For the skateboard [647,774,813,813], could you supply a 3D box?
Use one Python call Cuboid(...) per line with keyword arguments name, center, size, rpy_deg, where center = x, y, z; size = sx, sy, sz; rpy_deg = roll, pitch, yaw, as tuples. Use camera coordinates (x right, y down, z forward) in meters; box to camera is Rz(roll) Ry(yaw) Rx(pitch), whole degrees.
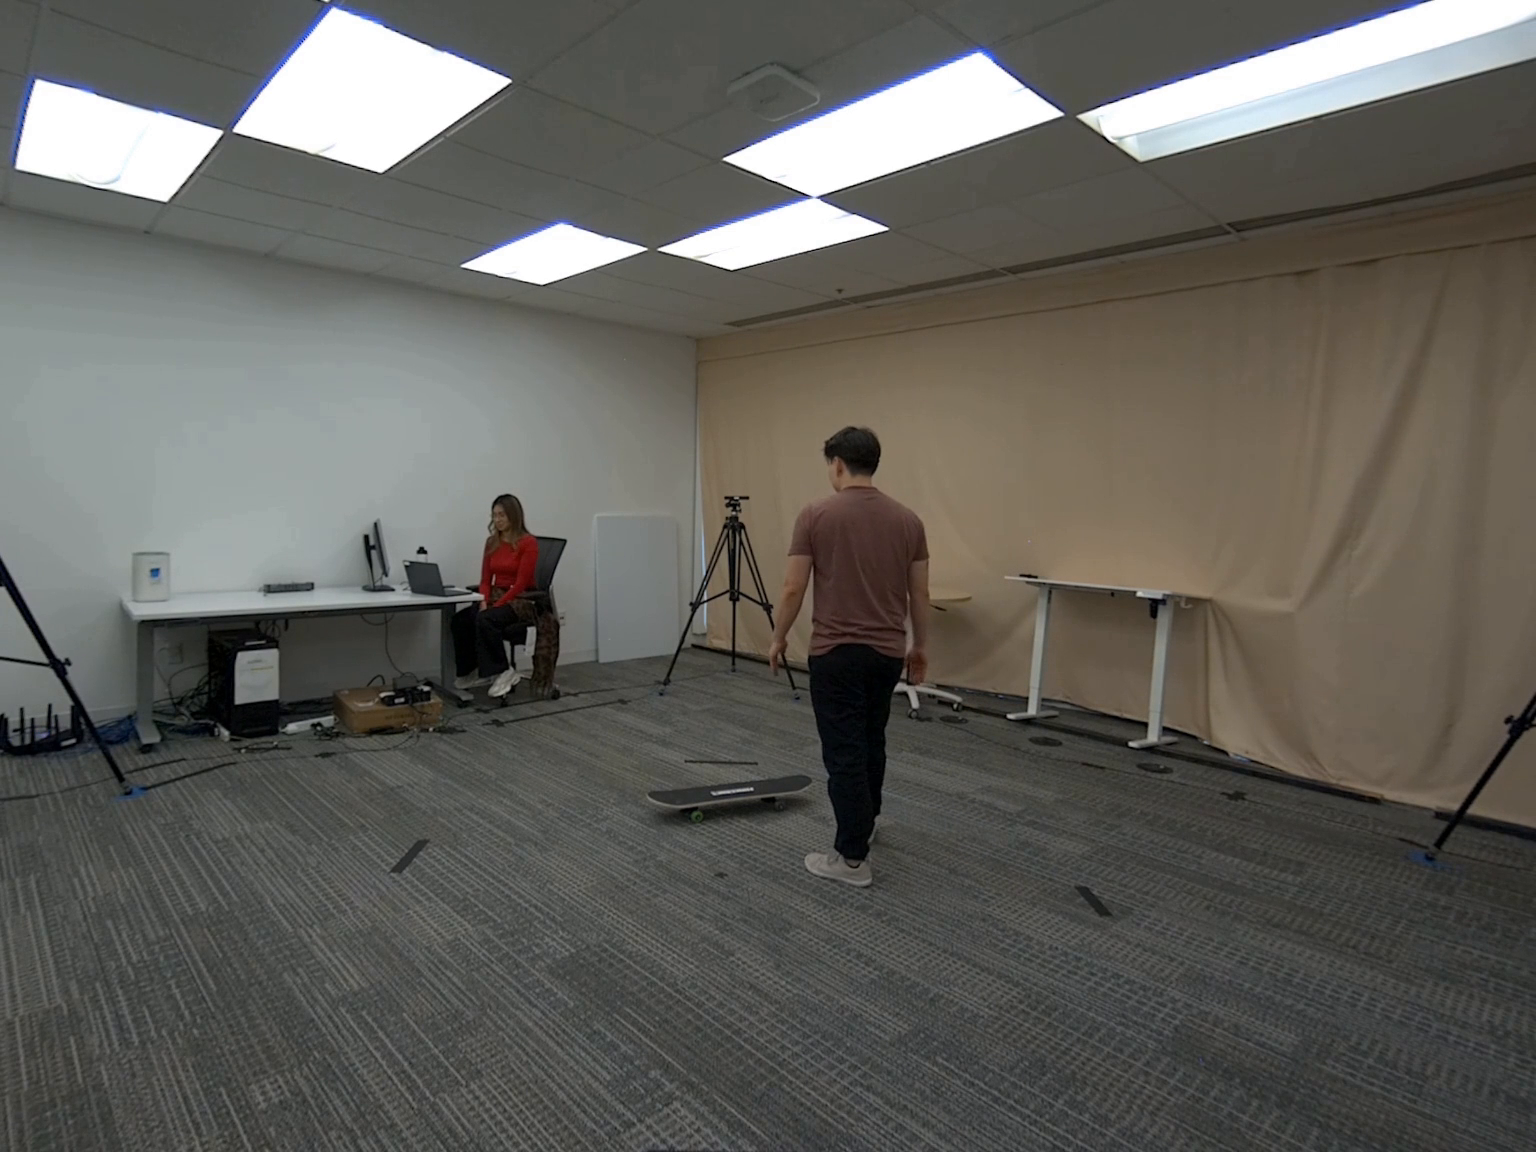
Cuboid(name="skateboard", center=(-0.168, 0.986, 3.752), size=(0.772, 0.110, 0.197), rpy_deg=(-1, 5, -24))
